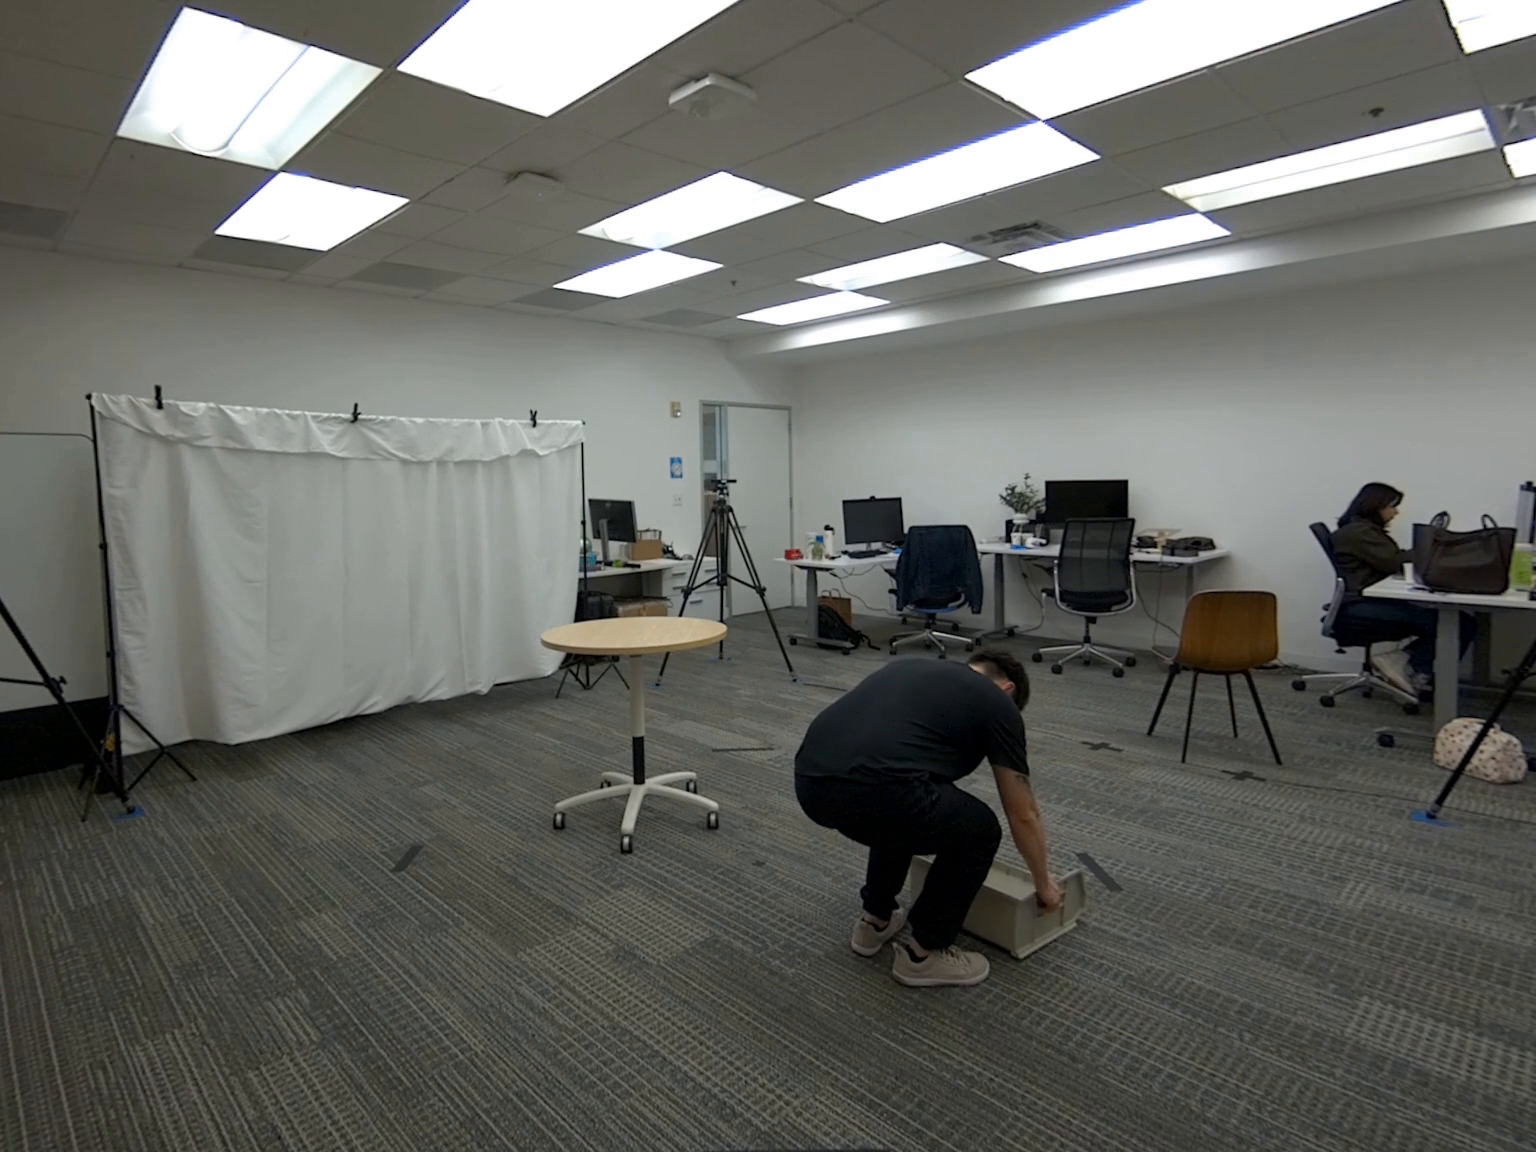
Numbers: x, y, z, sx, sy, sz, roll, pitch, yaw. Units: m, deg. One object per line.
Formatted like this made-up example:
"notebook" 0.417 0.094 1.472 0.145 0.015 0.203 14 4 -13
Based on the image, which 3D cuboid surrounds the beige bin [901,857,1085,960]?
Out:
"beige bin" 0.719 0.976 2.712 0.367 0.188 0.435 -4 7 -40
